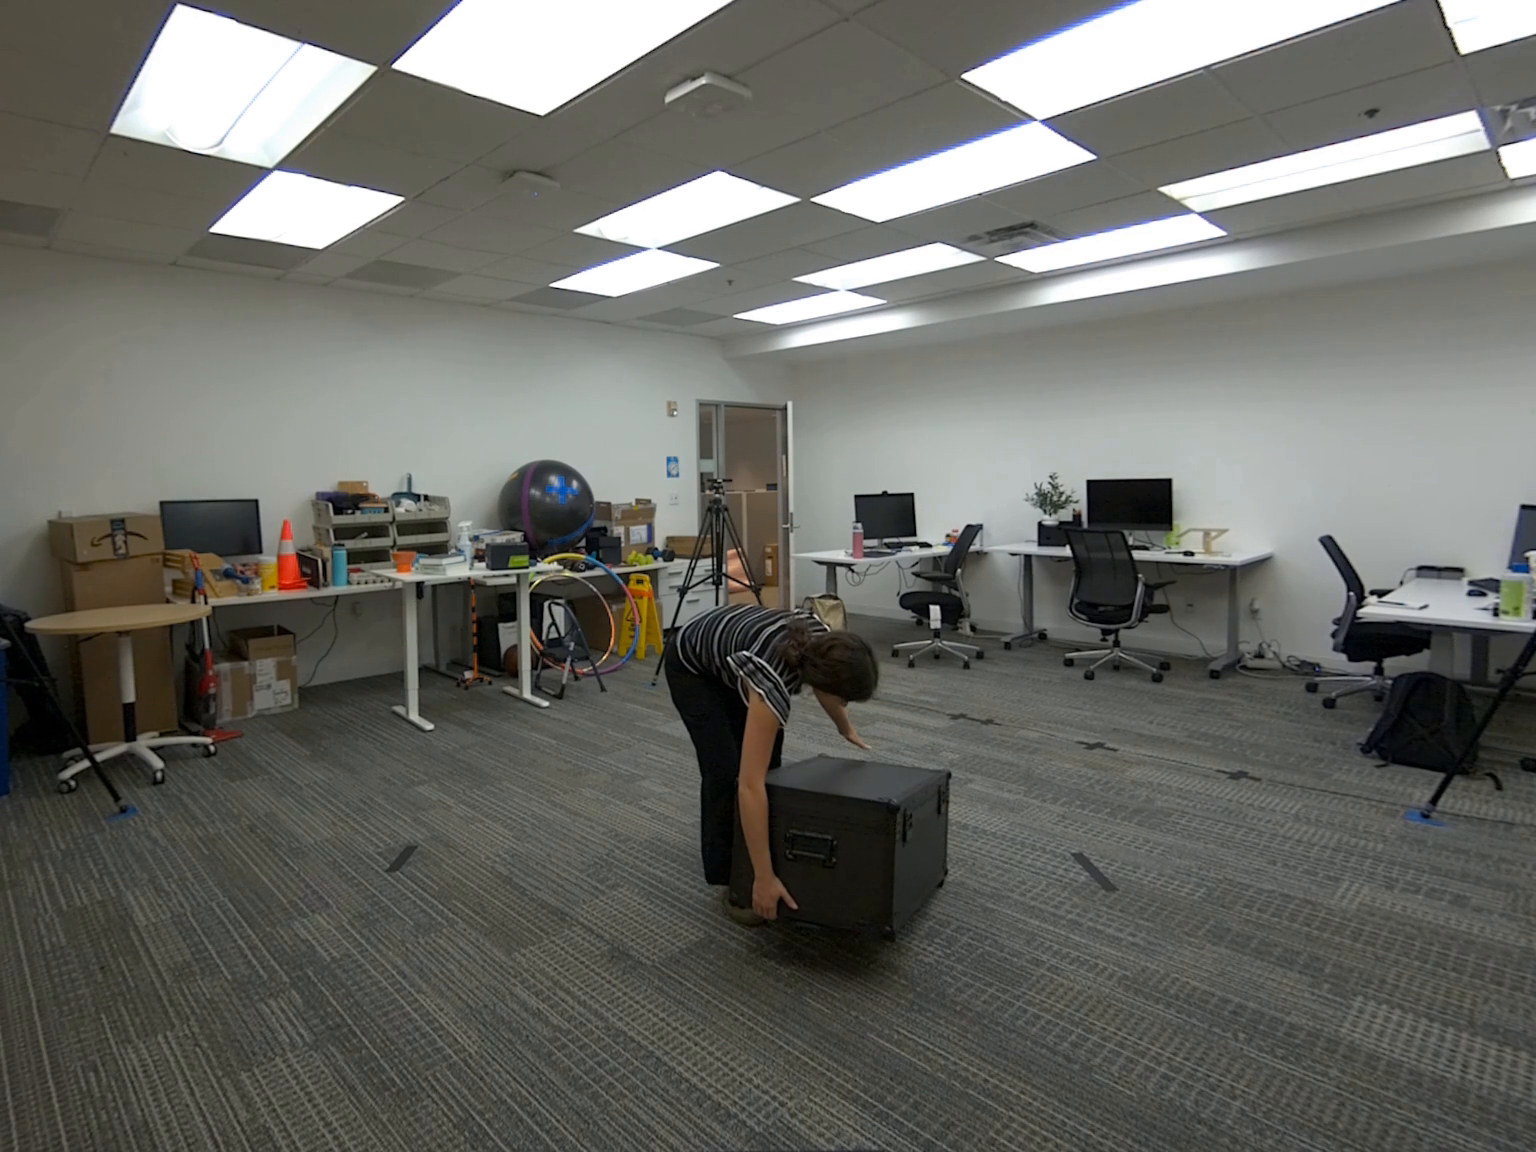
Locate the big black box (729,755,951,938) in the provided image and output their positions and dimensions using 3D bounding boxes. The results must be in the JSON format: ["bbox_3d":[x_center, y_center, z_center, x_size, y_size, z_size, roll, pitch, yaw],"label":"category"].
[{"bbox_3d":[0.296,0.826,2.757,0.532,0.398,0.839,1,-5,23],"label":"big black box"}]
